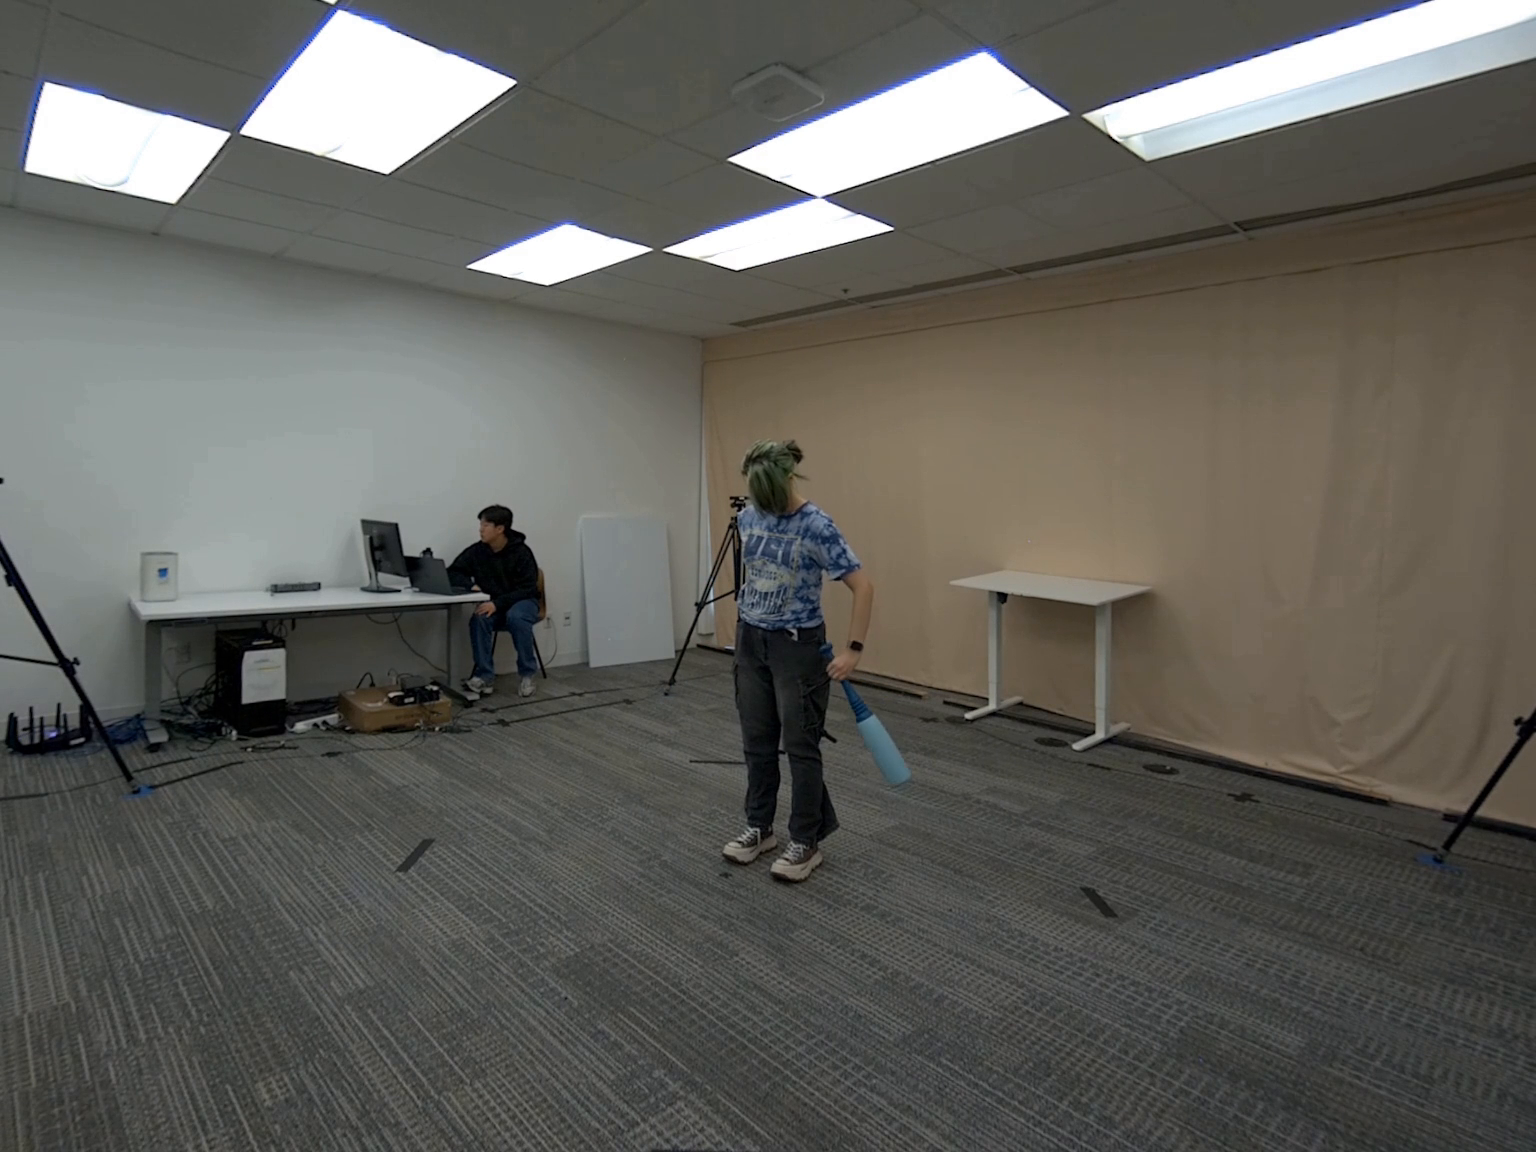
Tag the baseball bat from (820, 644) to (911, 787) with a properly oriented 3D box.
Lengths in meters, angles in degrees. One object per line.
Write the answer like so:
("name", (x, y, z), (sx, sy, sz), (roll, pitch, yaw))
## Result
("baseball bat", (0.320, 0.484, 2.960), (0.089, 0.548, 0.088), (-29, -9, -6))
